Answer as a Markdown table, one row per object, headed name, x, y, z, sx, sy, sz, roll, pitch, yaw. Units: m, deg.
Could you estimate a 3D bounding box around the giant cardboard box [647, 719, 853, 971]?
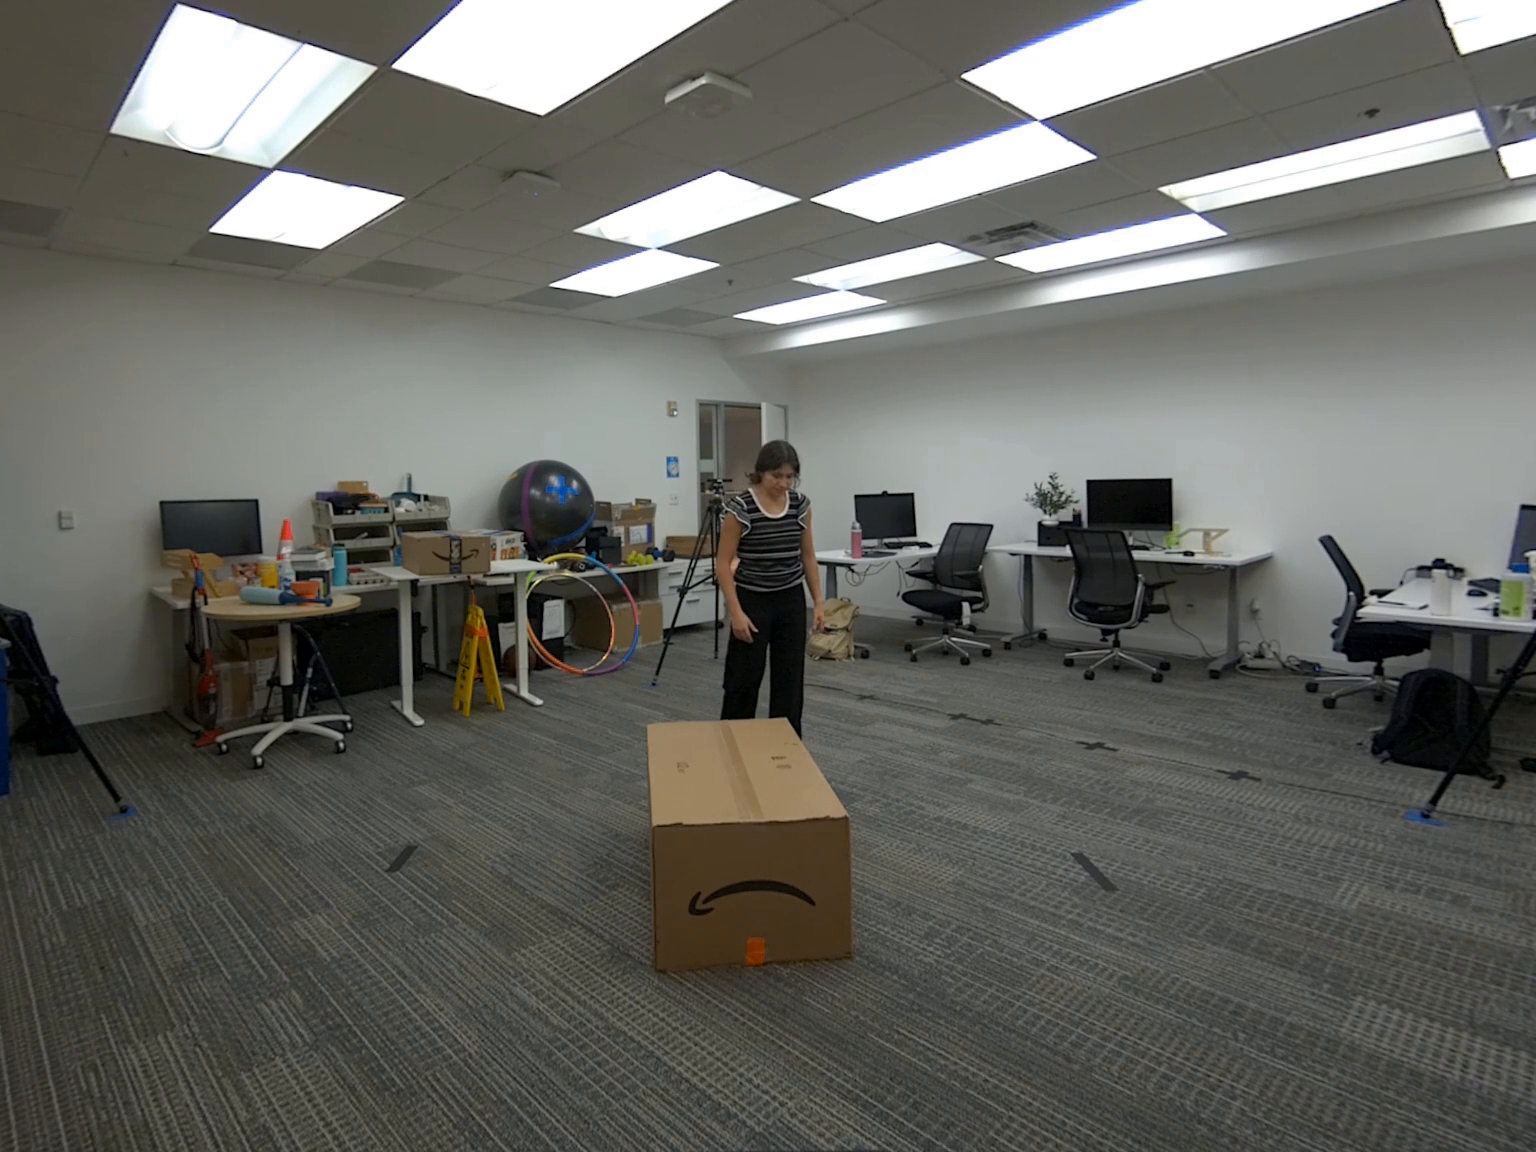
| name | x | y | z | sx | sy | sz | roll | pitch | yaw |
| --- | --- | --- | --- | --- | --- | --- | --- | --- | --- |
| giant cardboard box | -0.123 | 0.853 | 2.947 | 0.573 | 0.424 | 1.038 | -1 | 6 | -8 |
